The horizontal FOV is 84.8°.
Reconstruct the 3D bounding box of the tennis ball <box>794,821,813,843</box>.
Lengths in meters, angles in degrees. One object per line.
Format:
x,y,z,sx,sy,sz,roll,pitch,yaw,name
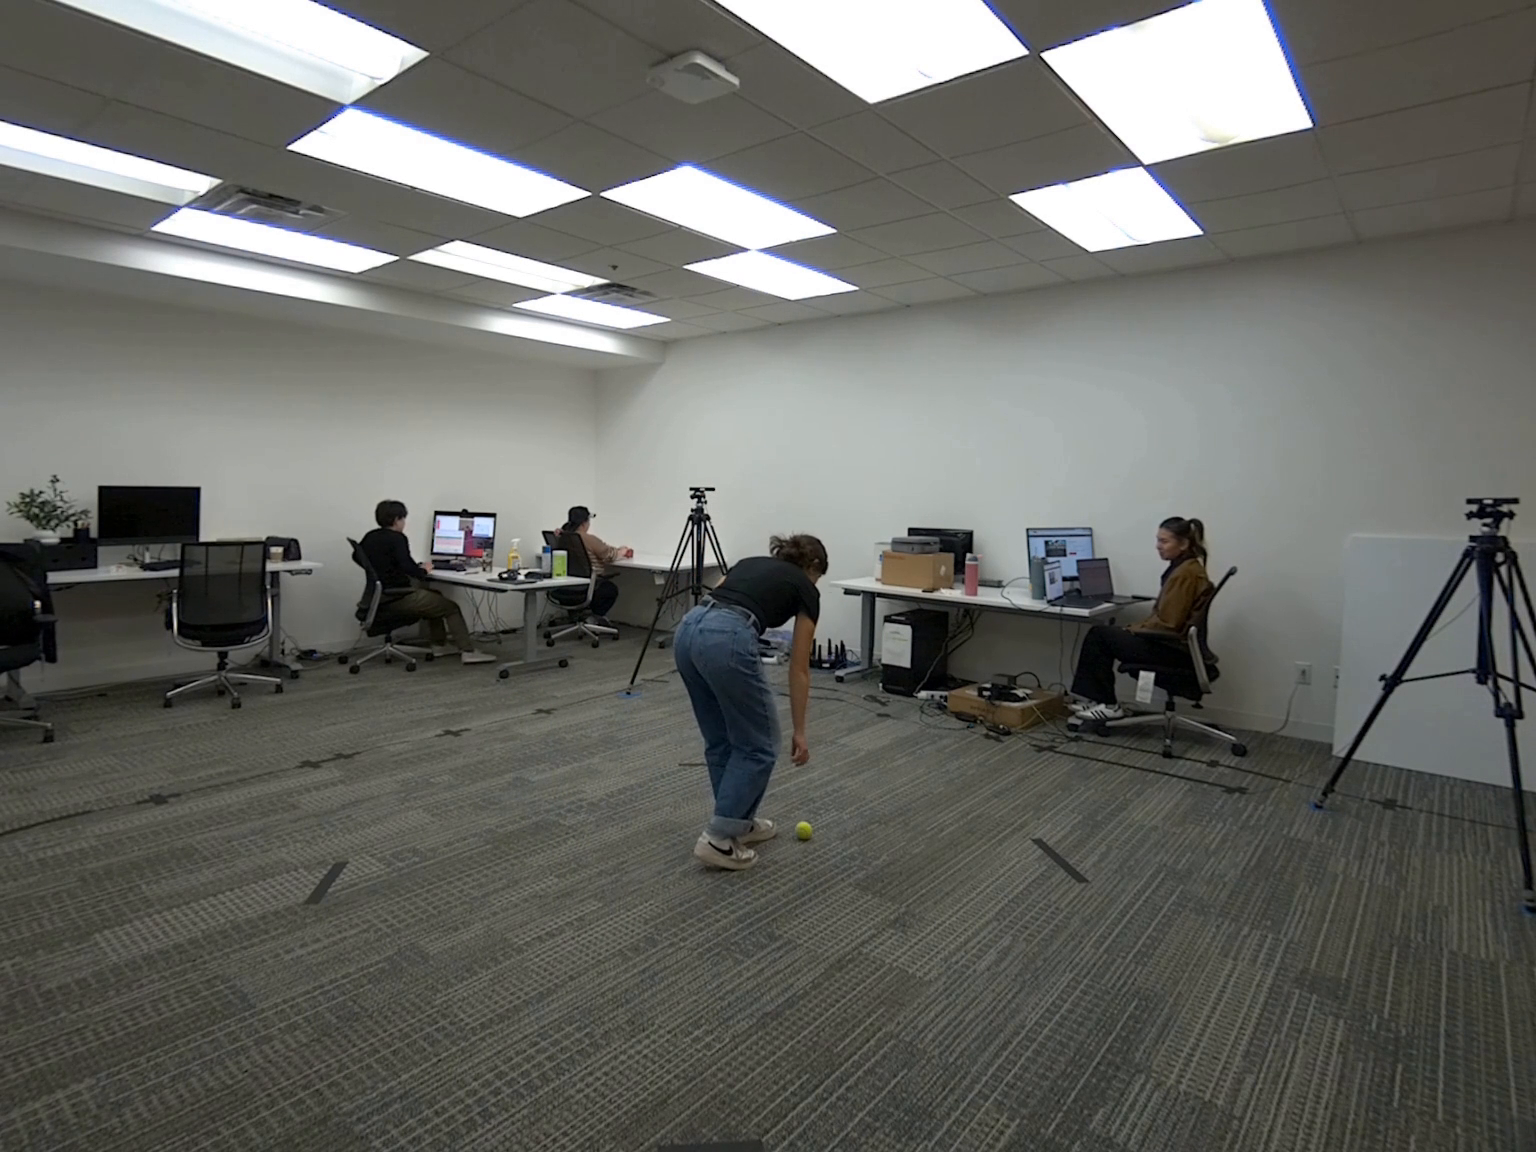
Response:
0.139,1.001,3.399,0.066,0.066,0.067,1,4,-2,tennis ball
